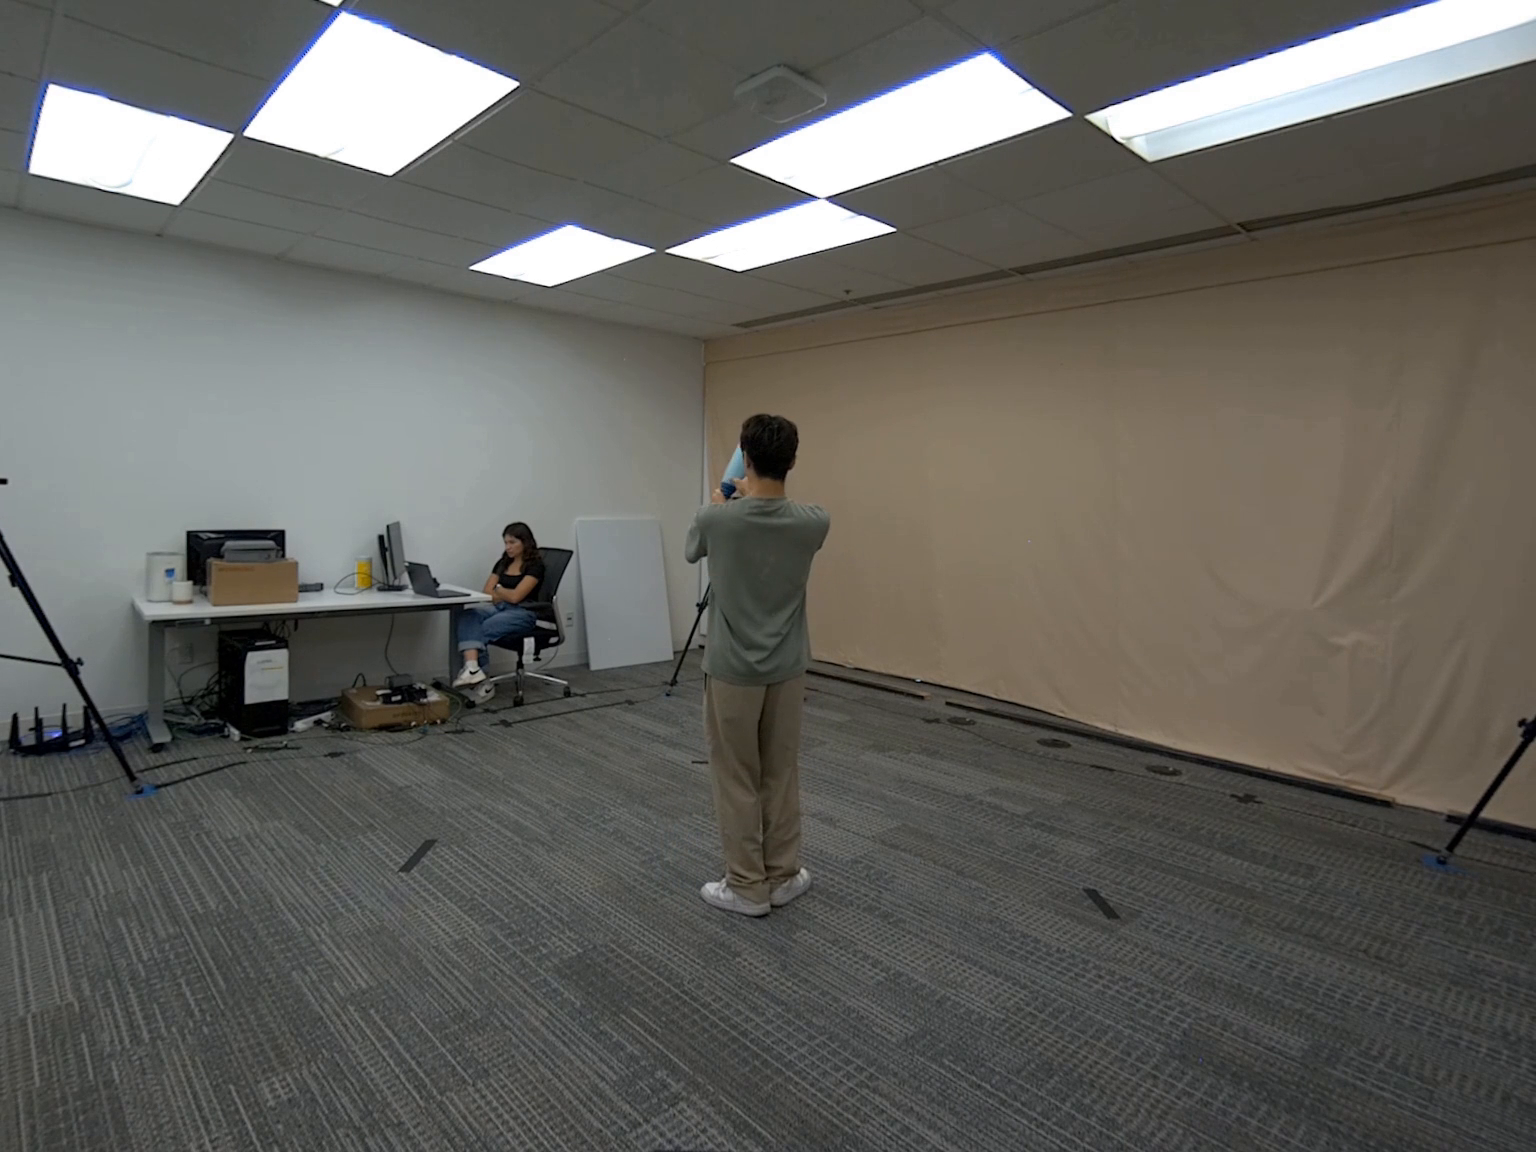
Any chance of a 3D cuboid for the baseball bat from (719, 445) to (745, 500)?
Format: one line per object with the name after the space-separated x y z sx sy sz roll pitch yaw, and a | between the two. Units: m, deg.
-0.164 -0.339 3.347 0.089 0.544 0.088 24 -8 2 | baseball bat
